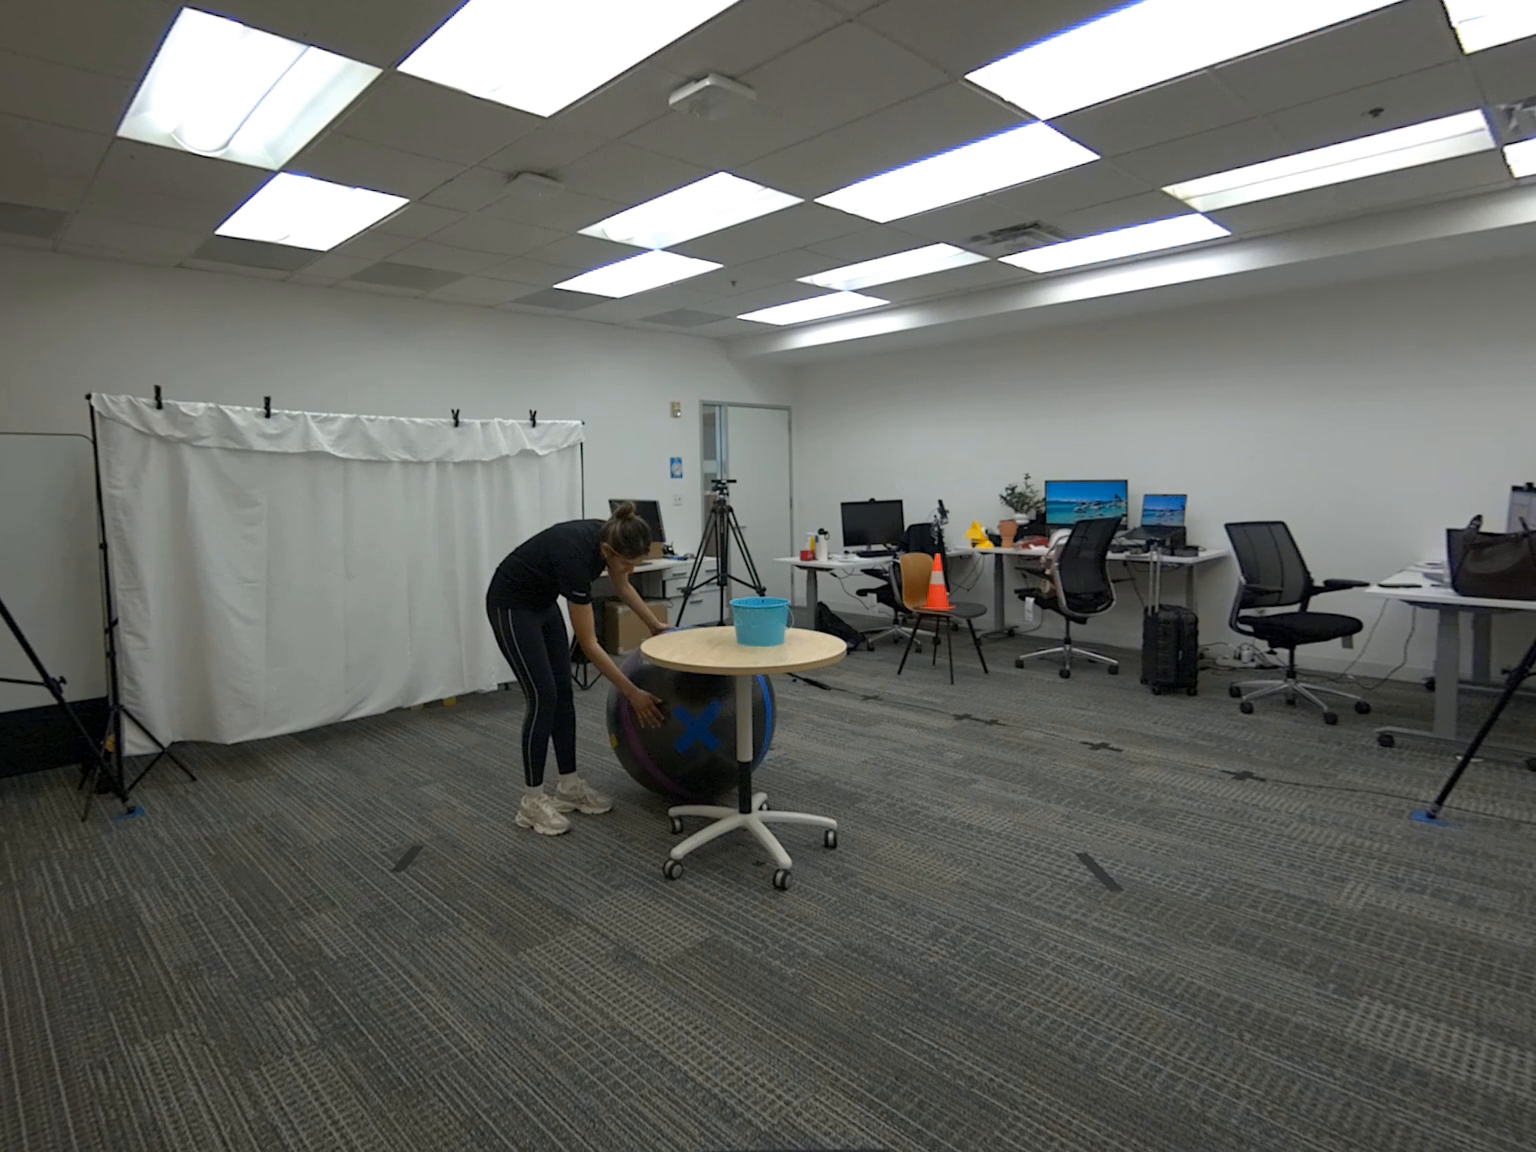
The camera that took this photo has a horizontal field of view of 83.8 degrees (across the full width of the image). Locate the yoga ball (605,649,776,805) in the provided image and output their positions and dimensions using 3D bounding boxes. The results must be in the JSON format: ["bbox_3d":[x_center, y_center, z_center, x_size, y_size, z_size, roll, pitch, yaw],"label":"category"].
[{"bbox_3d":[-0.343,0.604,3.811,0.757,0.755,0.762,-1,5,-2],"label":"yoga ball"}]
